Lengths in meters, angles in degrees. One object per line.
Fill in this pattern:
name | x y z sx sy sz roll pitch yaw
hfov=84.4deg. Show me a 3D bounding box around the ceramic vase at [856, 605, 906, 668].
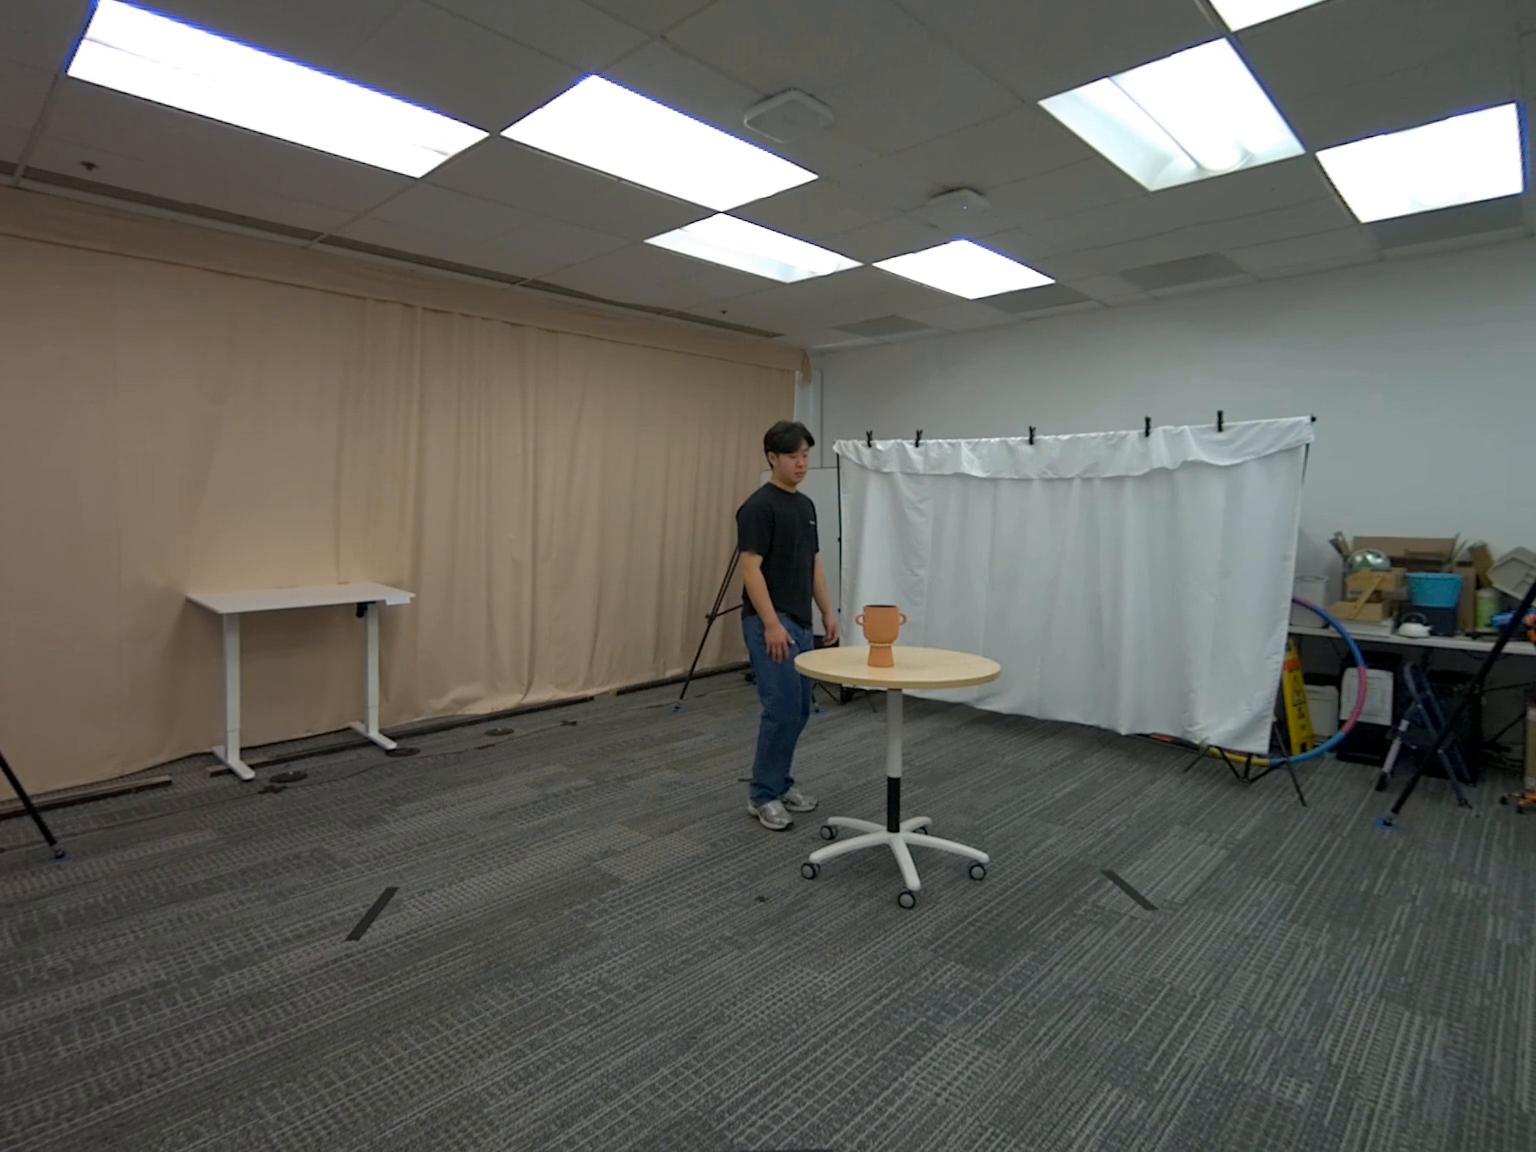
ceramic vase | 0.431 0.222 3.135 0.163 0.219 0.131 1 2 26
